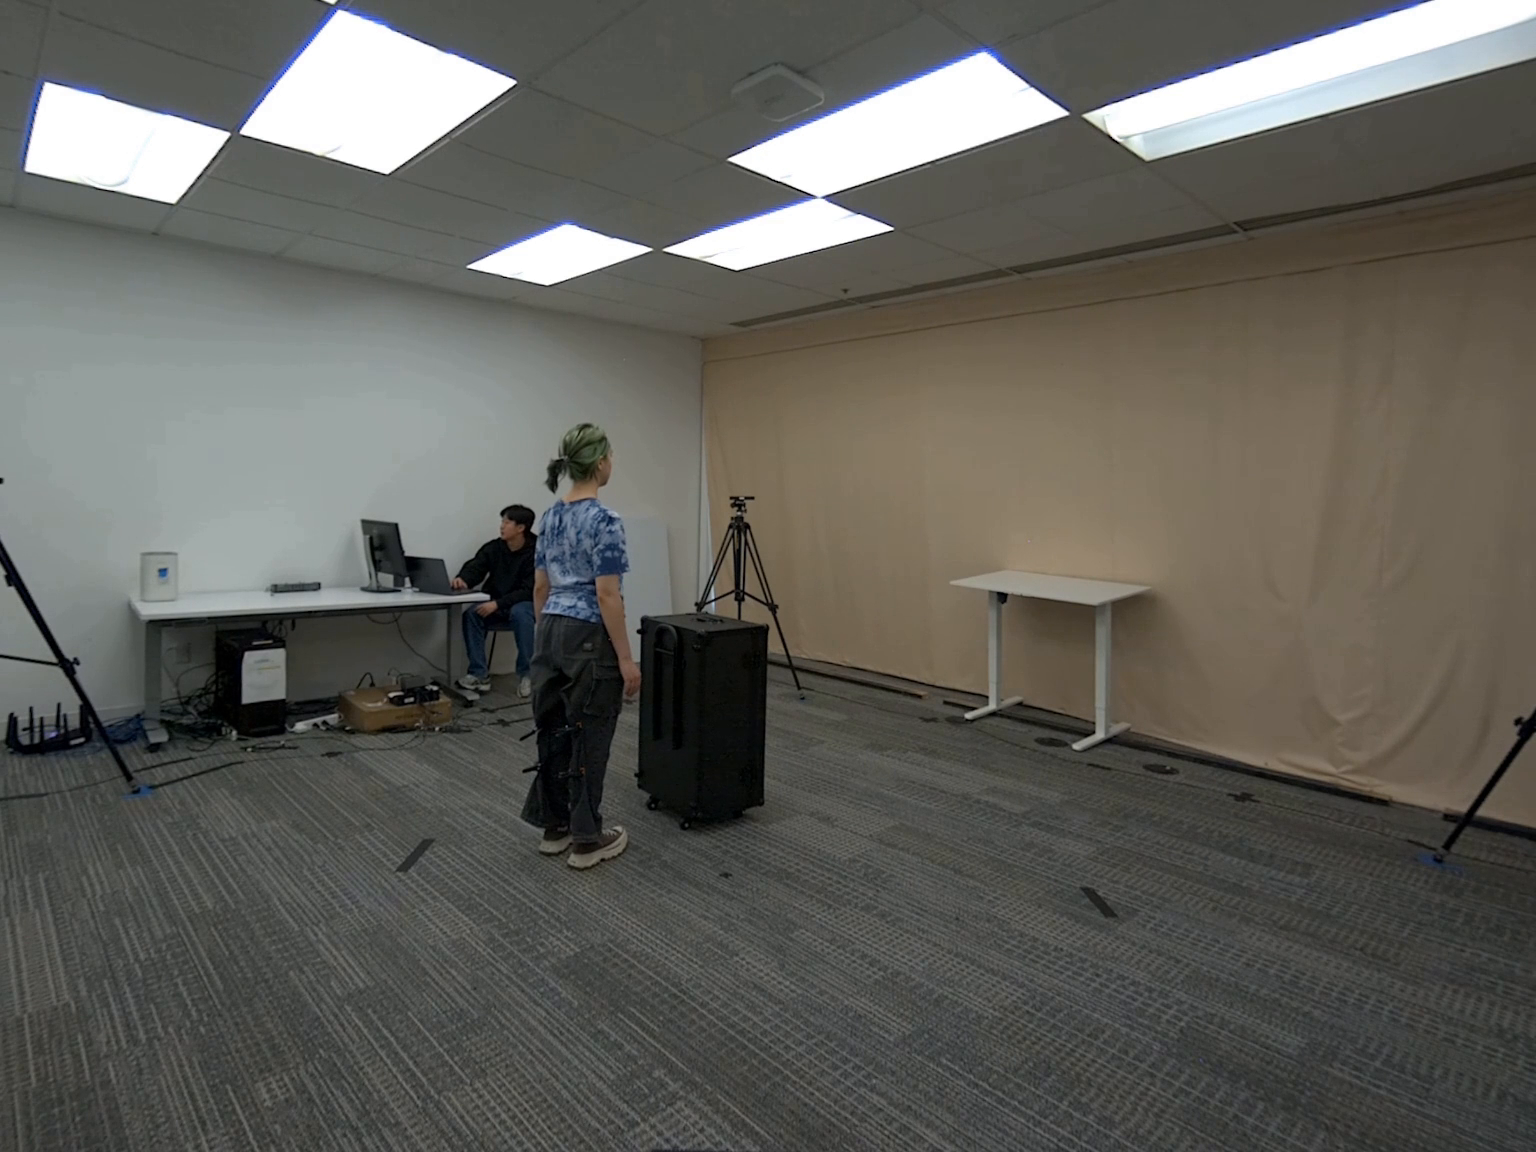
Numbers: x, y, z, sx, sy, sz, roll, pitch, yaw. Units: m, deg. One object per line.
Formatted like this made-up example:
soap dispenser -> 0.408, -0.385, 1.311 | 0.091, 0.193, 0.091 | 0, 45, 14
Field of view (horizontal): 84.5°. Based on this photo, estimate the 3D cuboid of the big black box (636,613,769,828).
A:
big black box -> -0.309, 0.621, 3.698 | 0.387, 0.859, 0.534 | -1, 4, -37
